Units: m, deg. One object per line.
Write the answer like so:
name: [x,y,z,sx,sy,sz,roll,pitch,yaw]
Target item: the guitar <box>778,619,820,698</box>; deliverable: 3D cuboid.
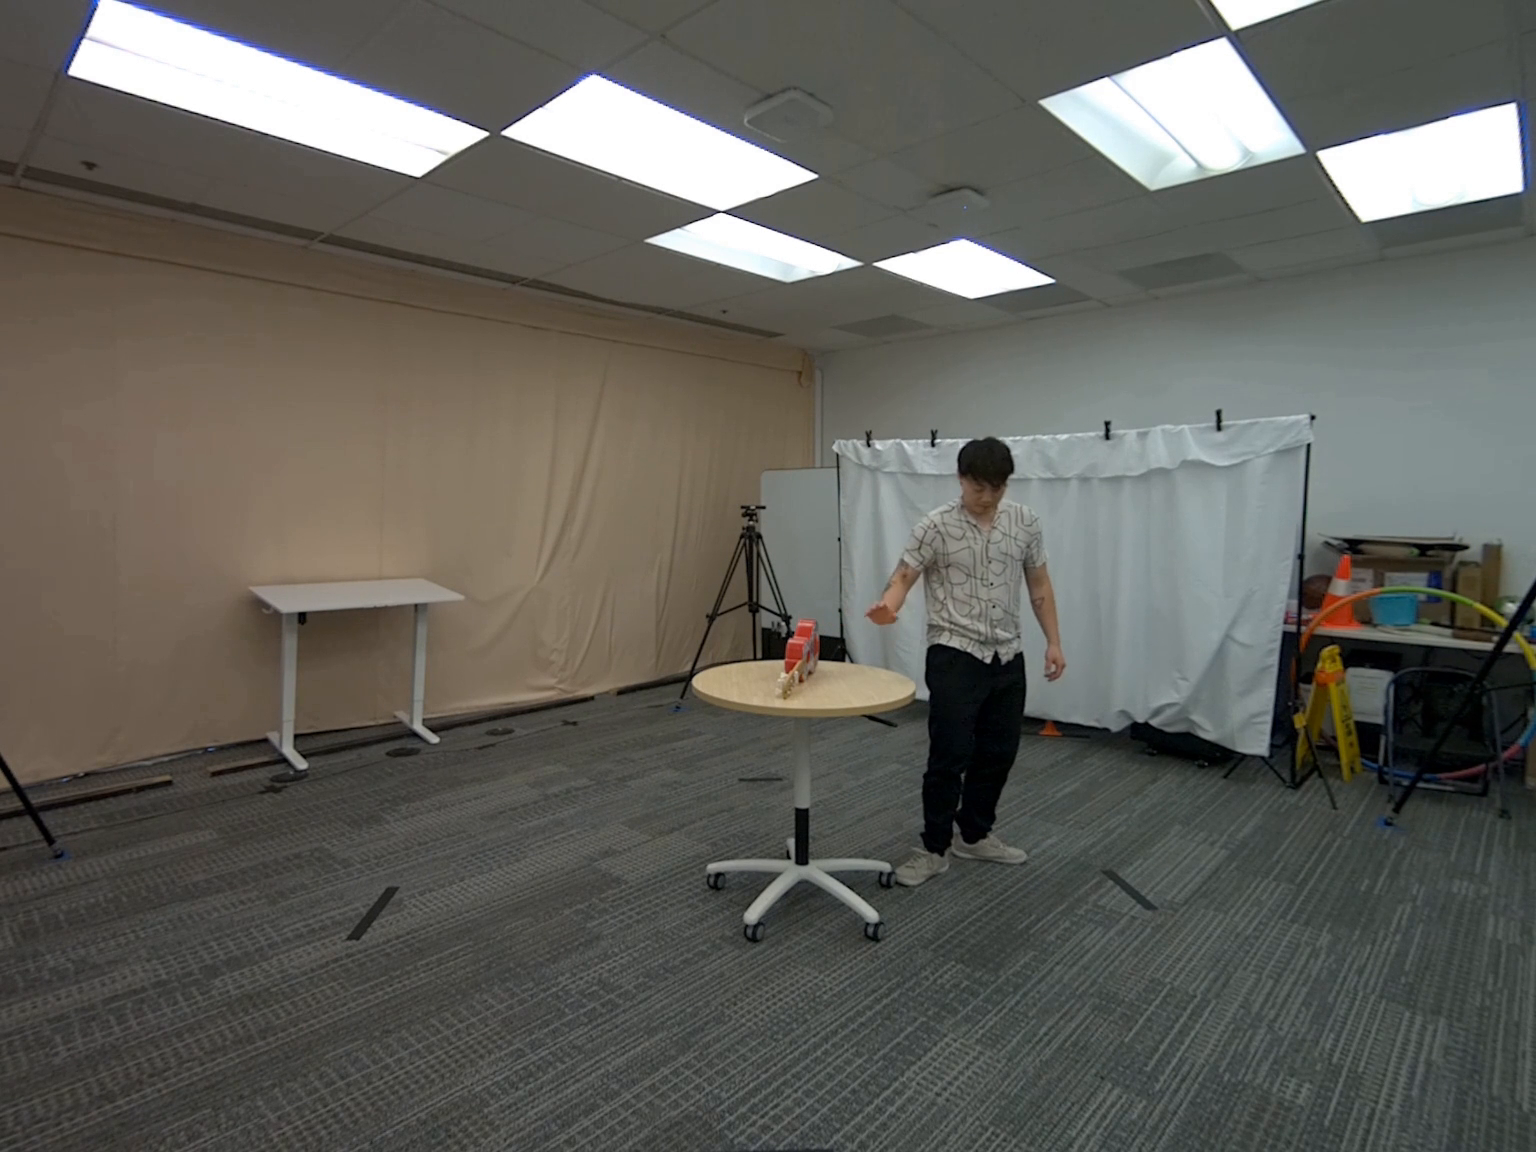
guitar: [0.100,0.275,2.870,0.072,0.192,0.491,3,7,15]
